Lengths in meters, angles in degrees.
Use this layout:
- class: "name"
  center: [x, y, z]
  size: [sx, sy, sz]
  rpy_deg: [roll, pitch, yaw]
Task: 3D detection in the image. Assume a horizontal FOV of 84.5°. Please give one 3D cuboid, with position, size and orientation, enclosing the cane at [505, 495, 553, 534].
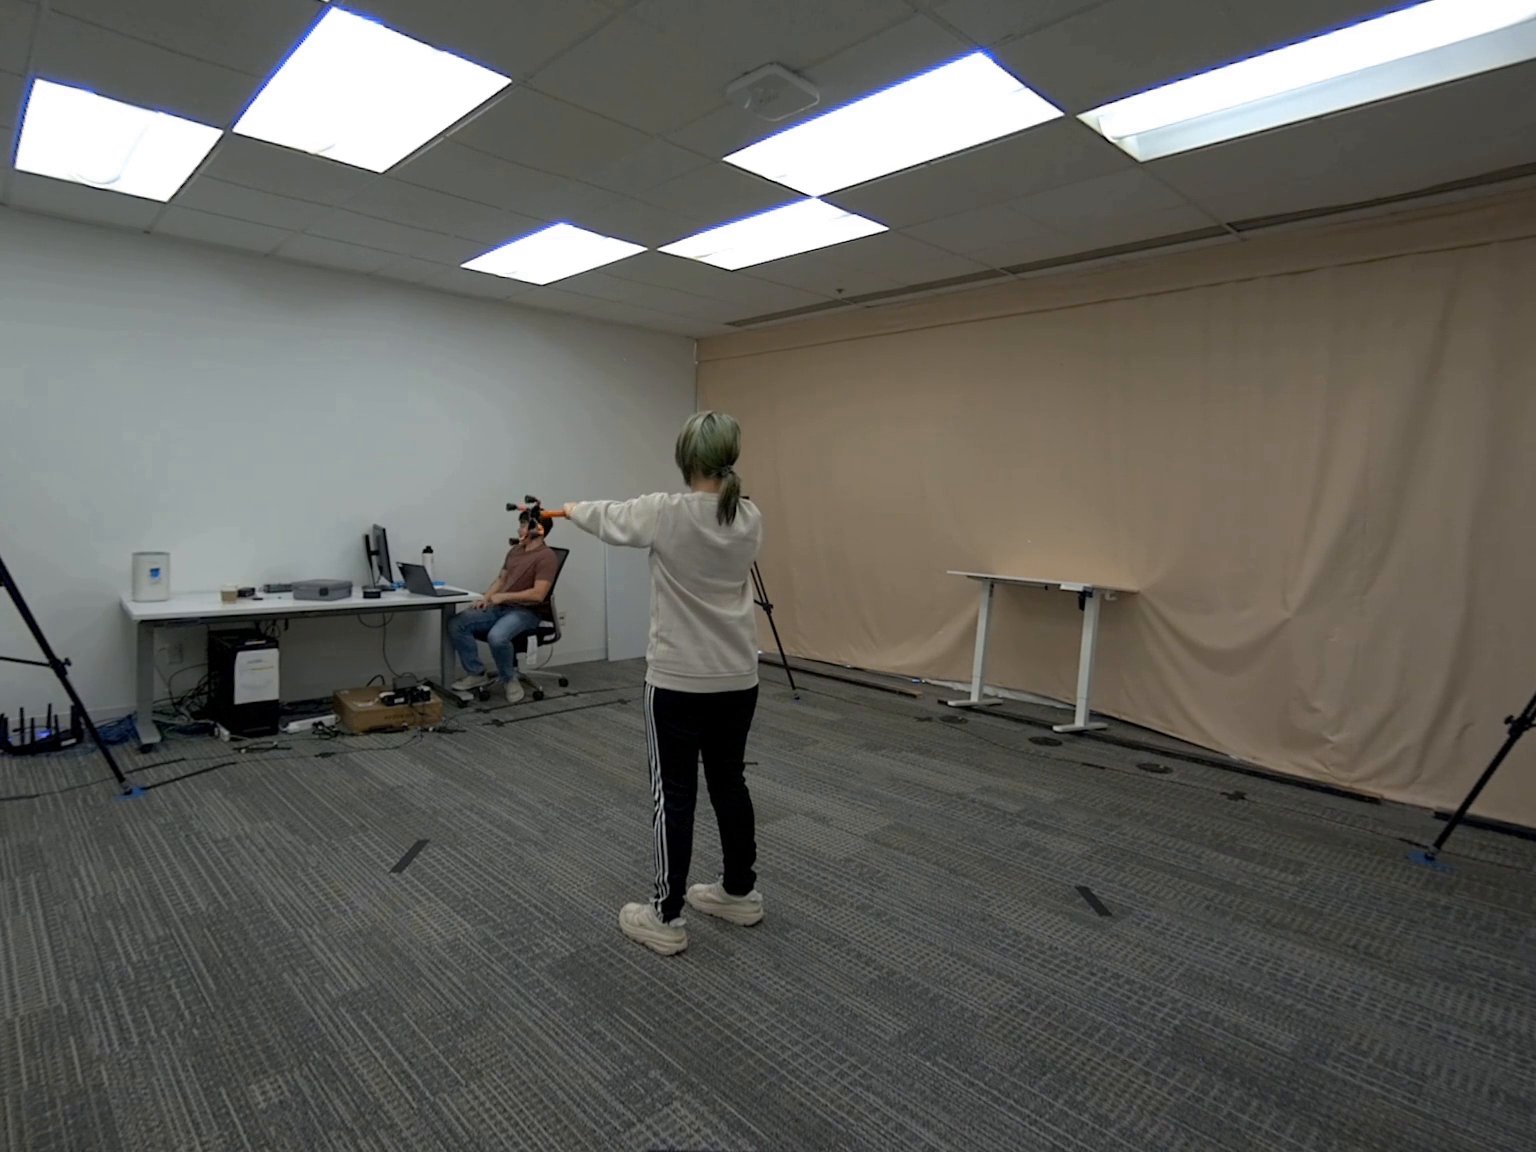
- class: "cane"
  center: [-0.503, -0.223, 3.136]
  size: [0.889, 0.152, 0.210]
  rpy_deg: [-5, -3, -36]
